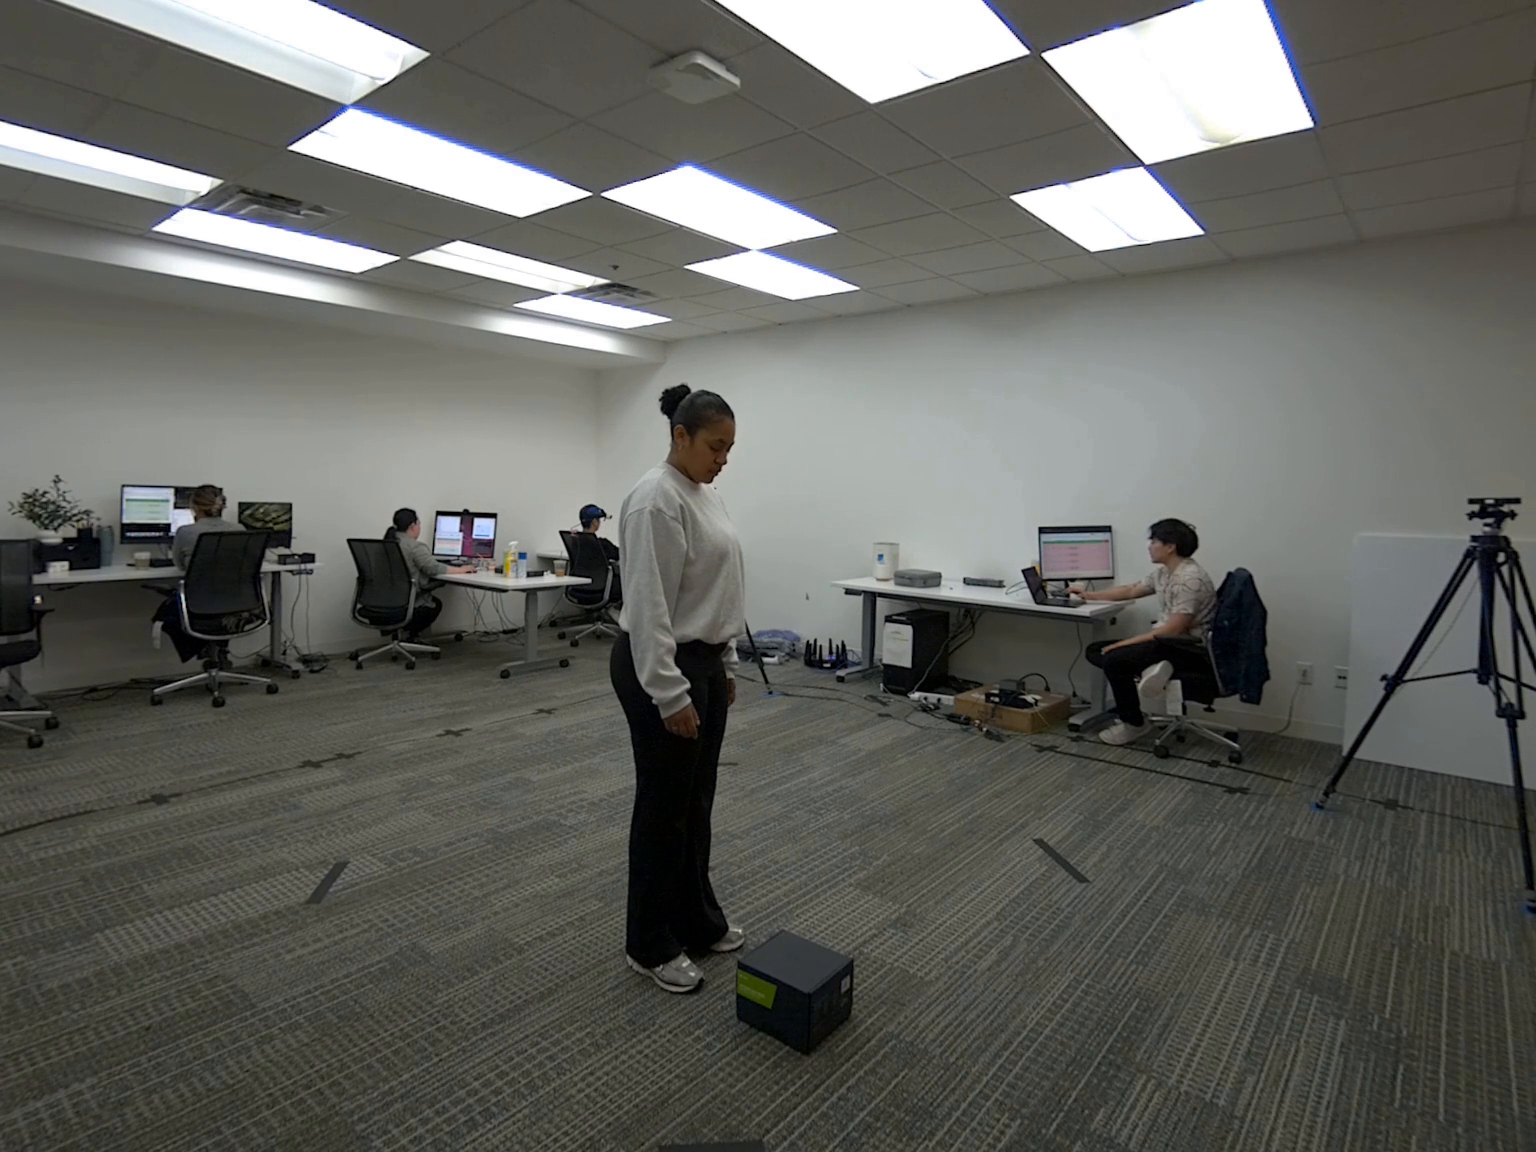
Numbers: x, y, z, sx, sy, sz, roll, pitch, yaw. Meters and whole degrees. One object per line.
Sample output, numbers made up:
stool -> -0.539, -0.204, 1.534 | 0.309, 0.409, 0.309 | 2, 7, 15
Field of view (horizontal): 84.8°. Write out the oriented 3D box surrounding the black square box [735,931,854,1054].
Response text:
black square box -> 0.062, 1.076, 2.239 | 0.235, 0.155, 0.211 | 5, 7, 36
